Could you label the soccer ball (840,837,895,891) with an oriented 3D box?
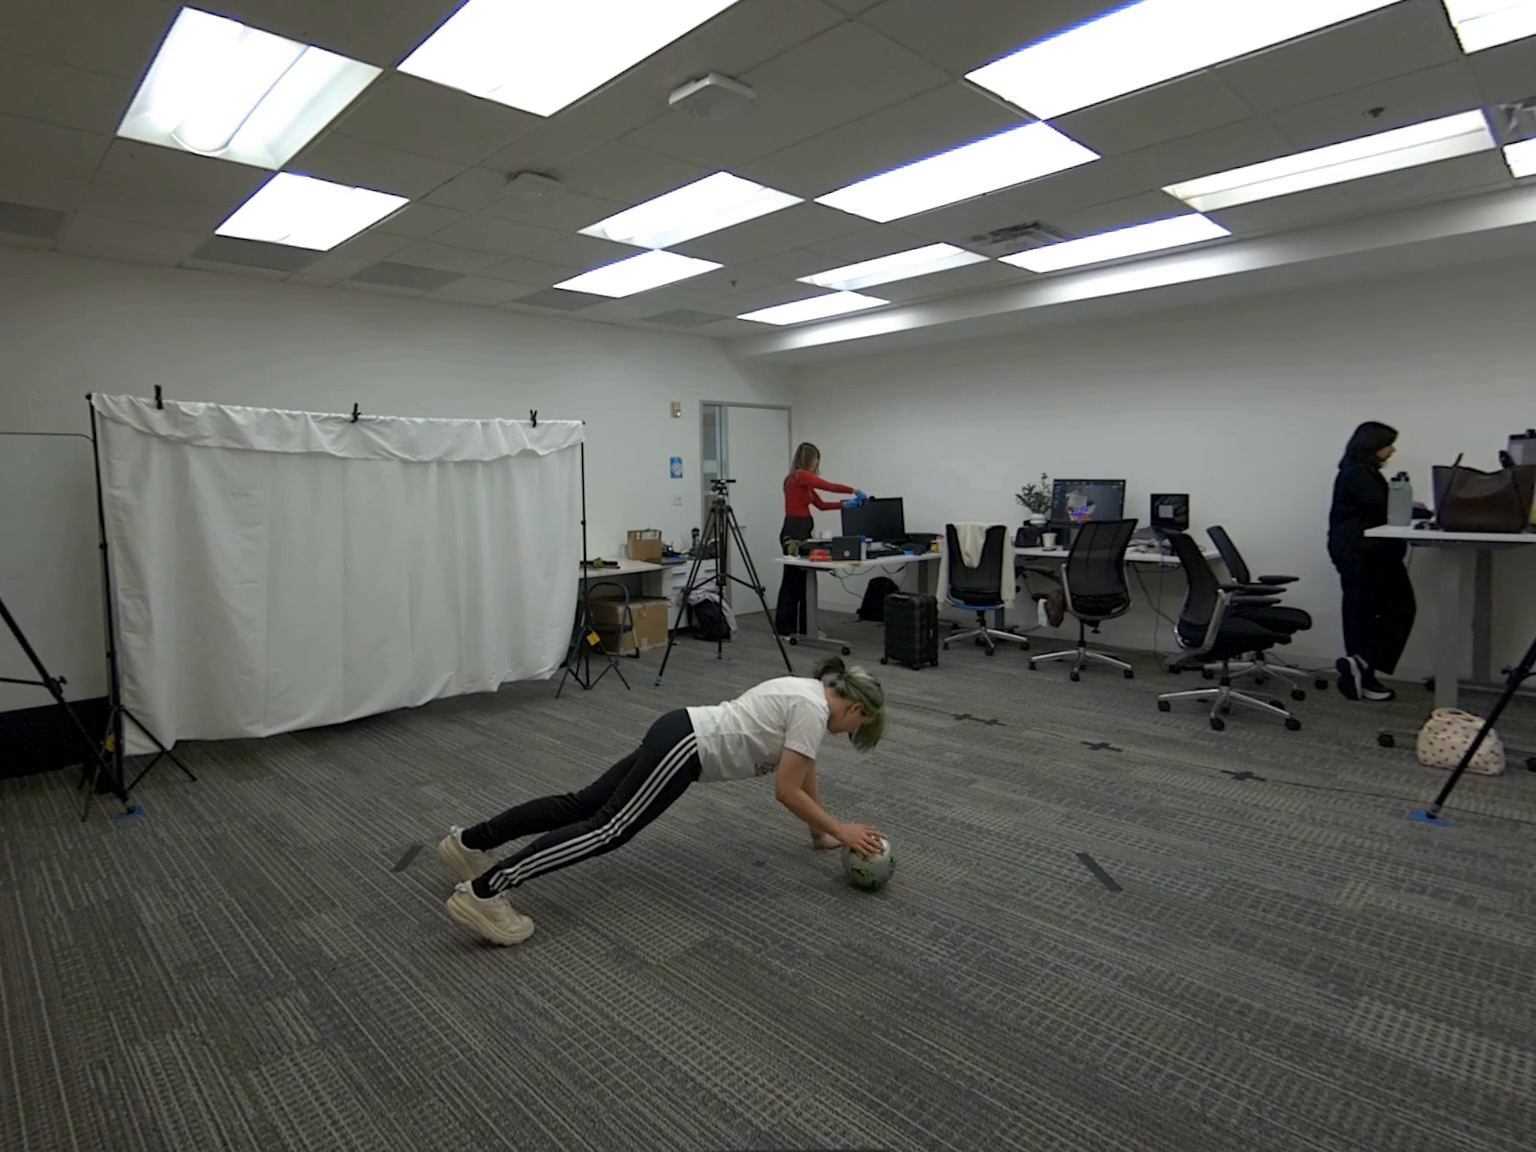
[{"bbox_3d":[0.344,0.963,2.931,0.187,0.187,0.188,-1,5,-2],"label":"soccer ball"}]
